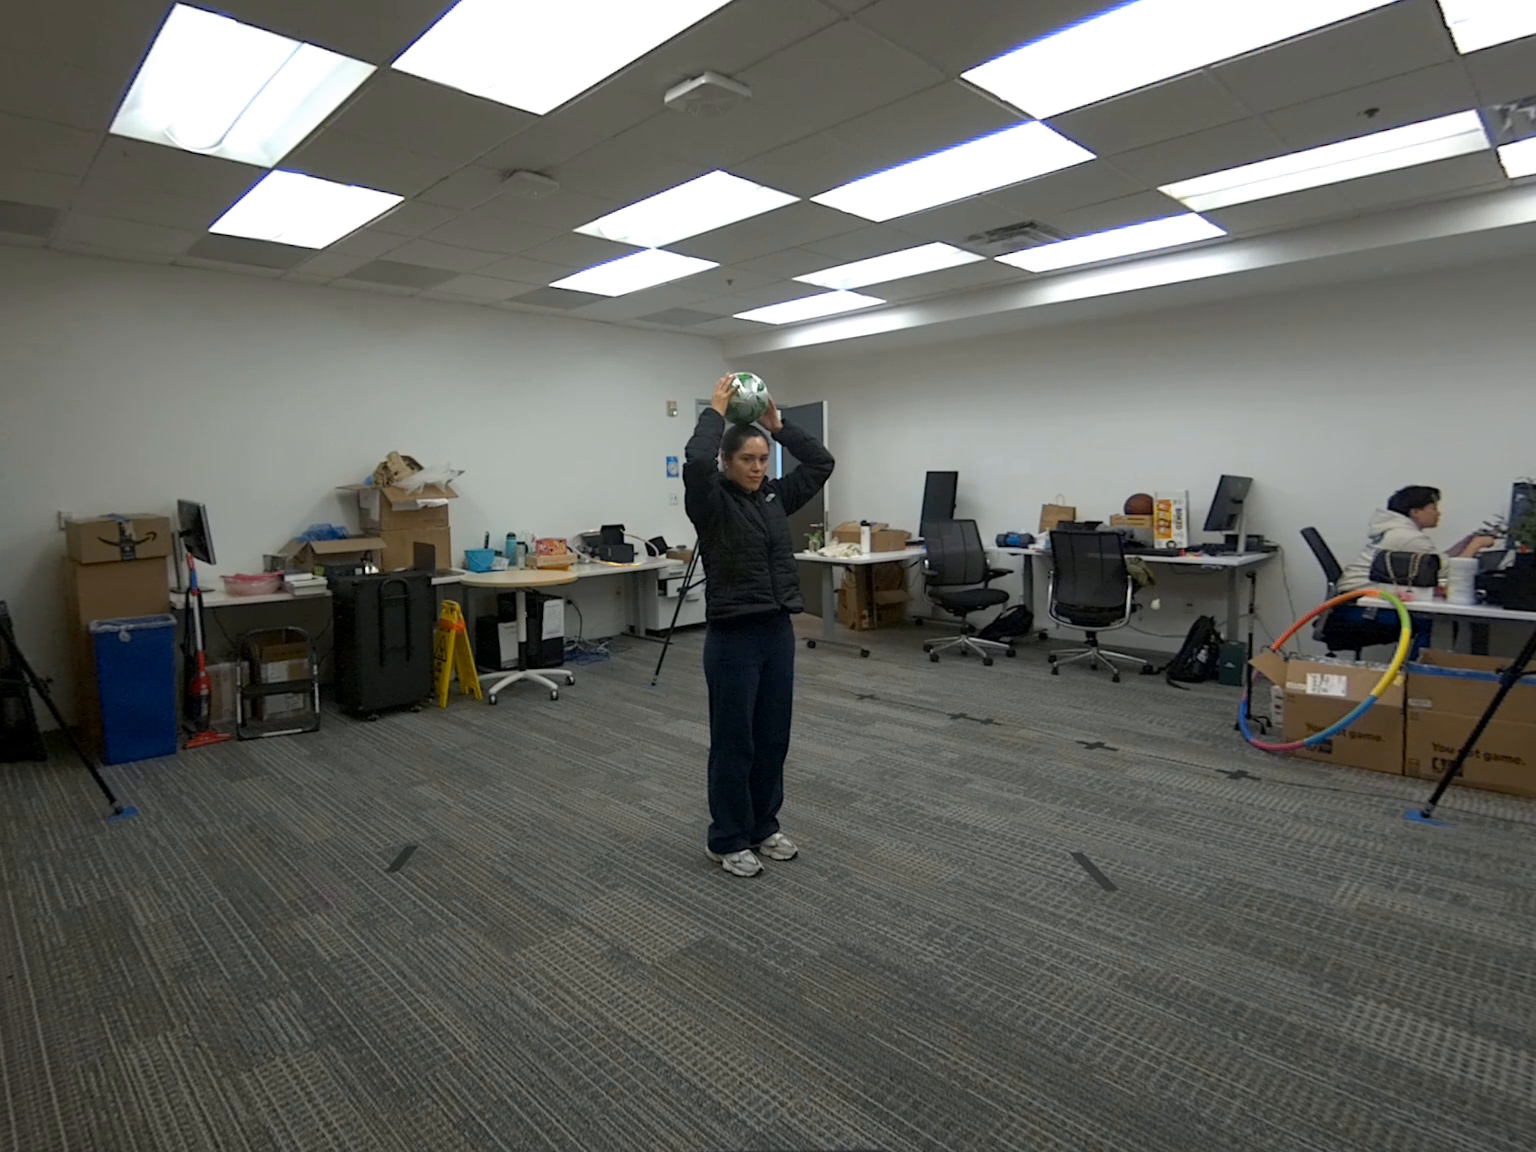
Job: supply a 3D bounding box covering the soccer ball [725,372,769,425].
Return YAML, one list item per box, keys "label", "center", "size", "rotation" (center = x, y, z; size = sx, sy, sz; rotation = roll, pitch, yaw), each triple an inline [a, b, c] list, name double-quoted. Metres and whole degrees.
- label: "soccer ball"
  center: [-0.091, -0.634, 3.043]
  size: [0.187, 0.187, 0.188]
  rotation: [-1, 5, -2]
